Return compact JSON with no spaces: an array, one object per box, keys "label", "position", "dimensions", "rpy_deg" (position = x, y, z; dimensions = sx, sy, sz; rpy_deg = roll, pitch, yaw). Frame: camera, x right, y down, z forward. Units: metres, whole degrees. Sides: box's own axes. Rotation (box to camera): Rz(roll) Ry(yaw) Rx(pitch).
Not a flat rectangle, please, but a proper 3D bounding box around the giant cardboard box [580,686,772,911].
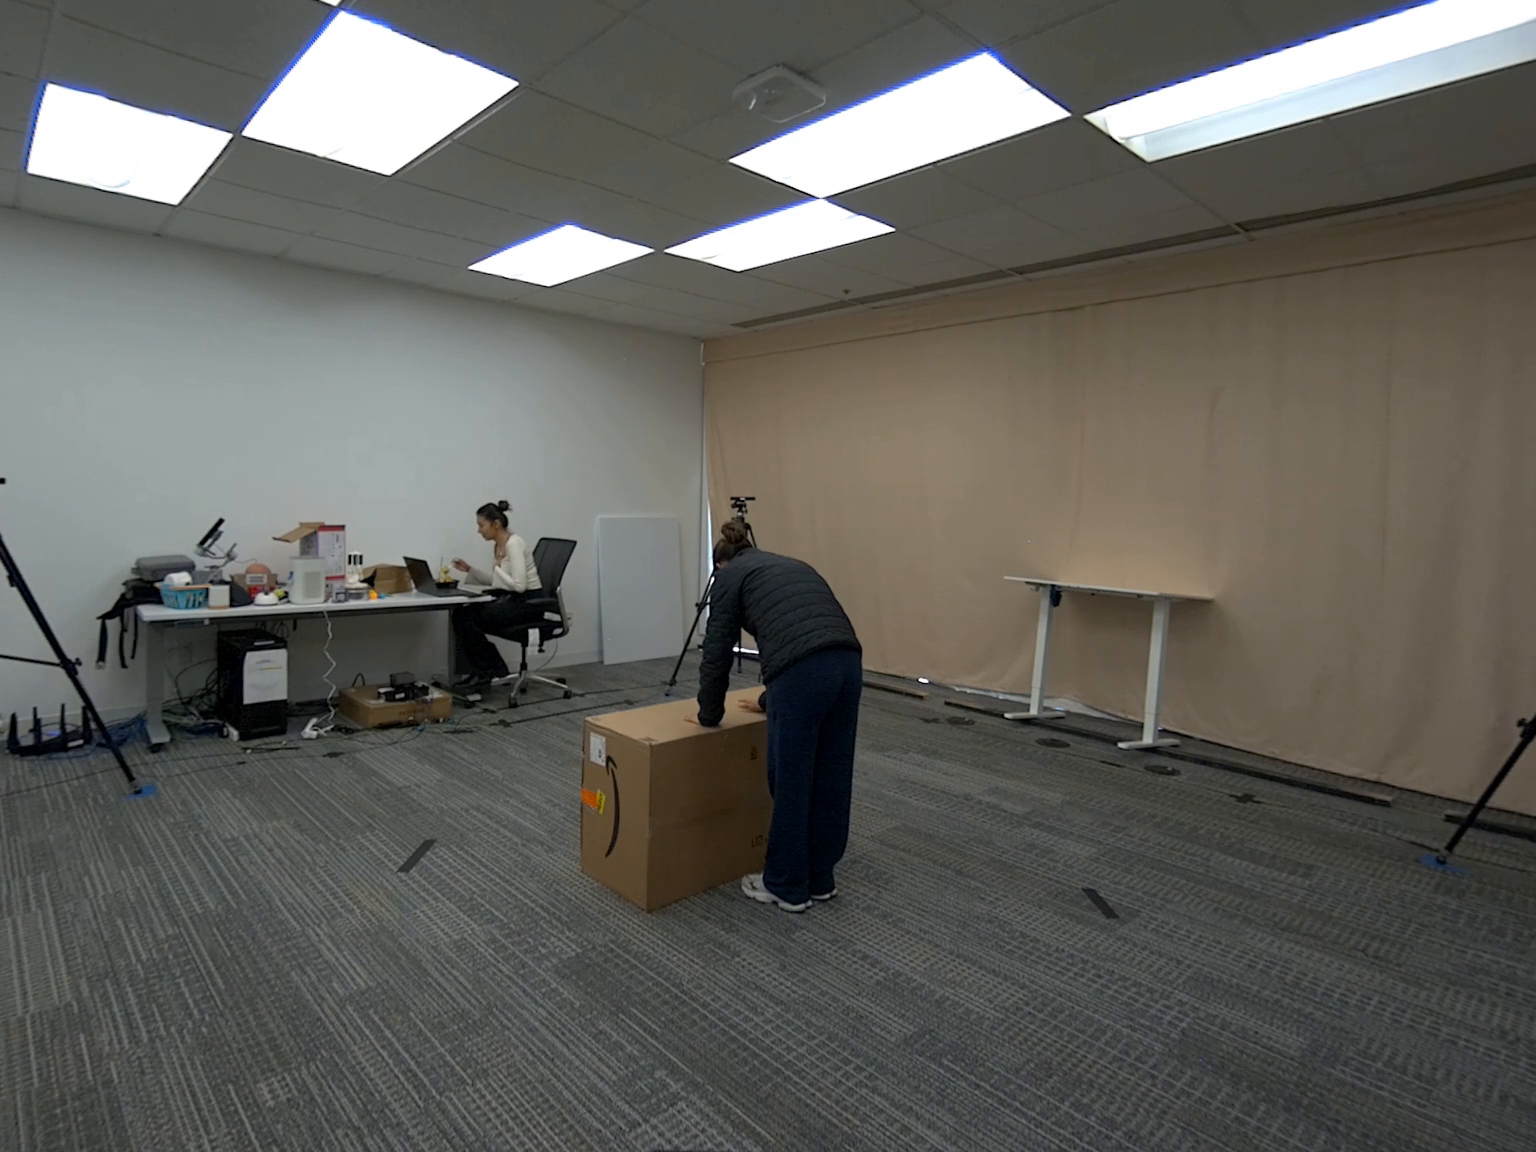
[{"label":"giant cardboard box","position":[-0.183,0.806,3.281],"dimensions":[1.004,0.582,0.458],"rpy_deg":[-3,7,-42]}]
